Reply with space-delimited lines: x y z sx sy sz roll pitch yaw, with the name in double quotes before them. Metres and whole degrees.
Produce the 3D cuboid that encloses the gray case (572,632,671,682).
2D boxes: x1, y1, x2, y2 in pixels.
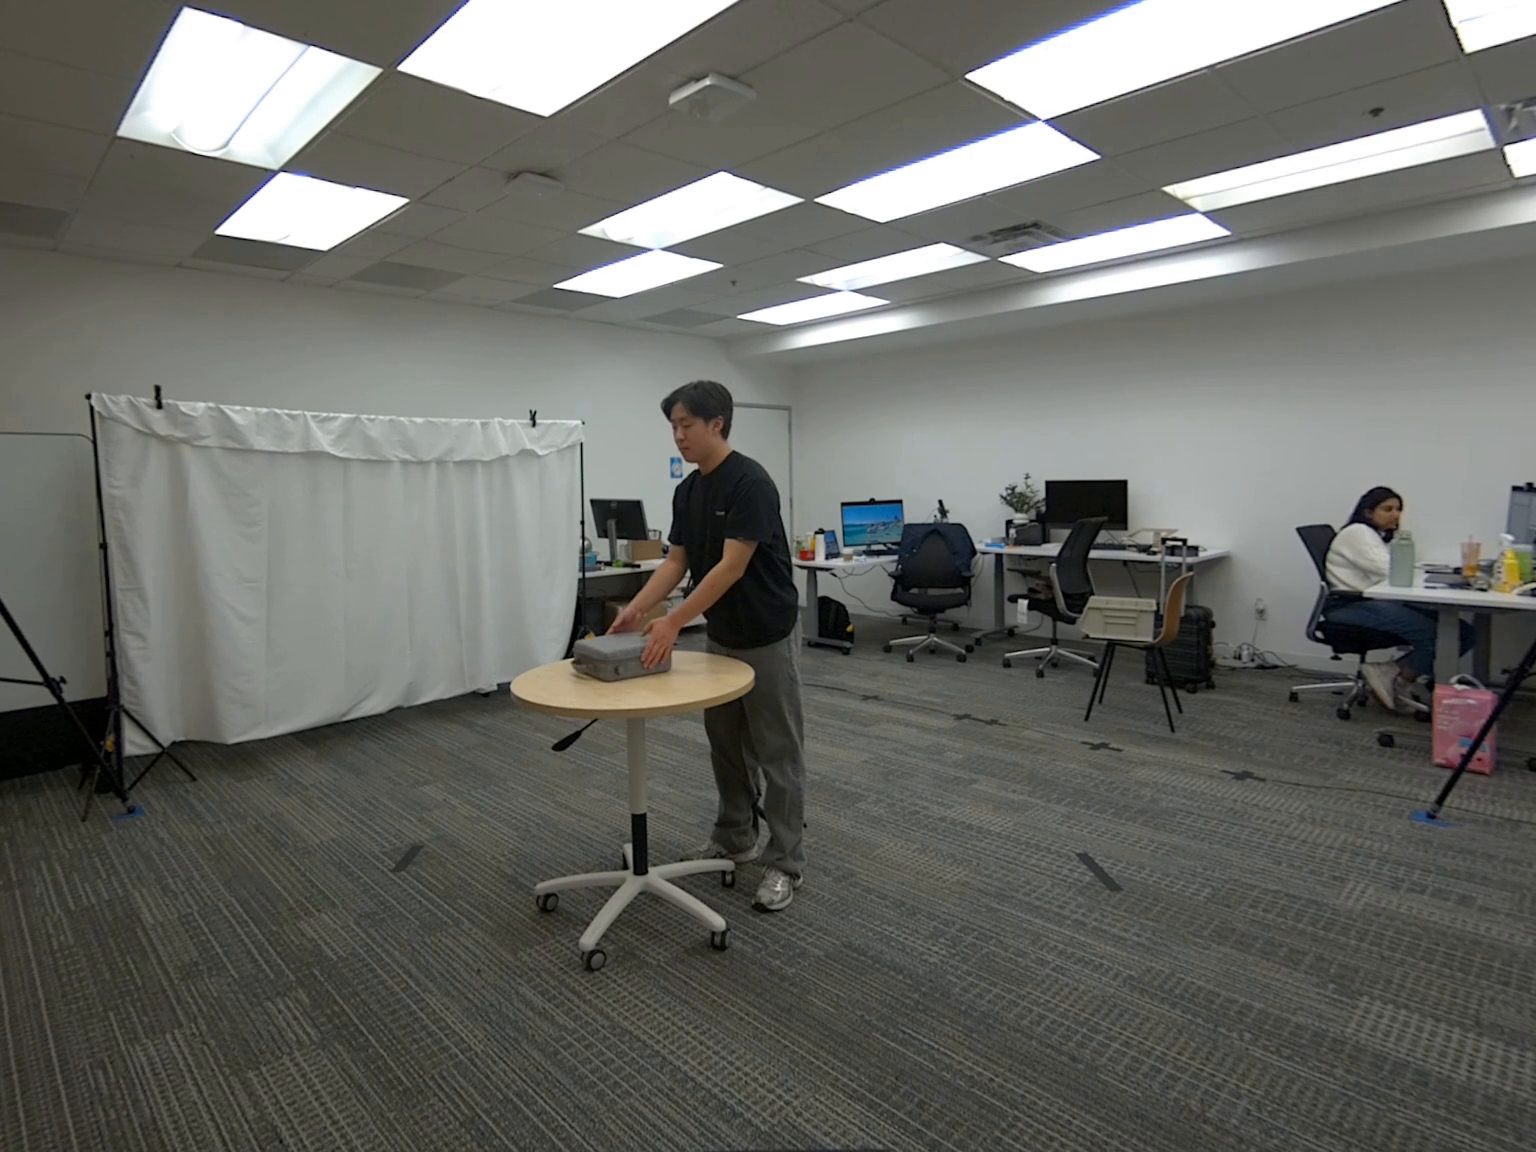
"gray case" -0.485 0.262 2.769 0.280 0.102 0.271 -7 9 -33
